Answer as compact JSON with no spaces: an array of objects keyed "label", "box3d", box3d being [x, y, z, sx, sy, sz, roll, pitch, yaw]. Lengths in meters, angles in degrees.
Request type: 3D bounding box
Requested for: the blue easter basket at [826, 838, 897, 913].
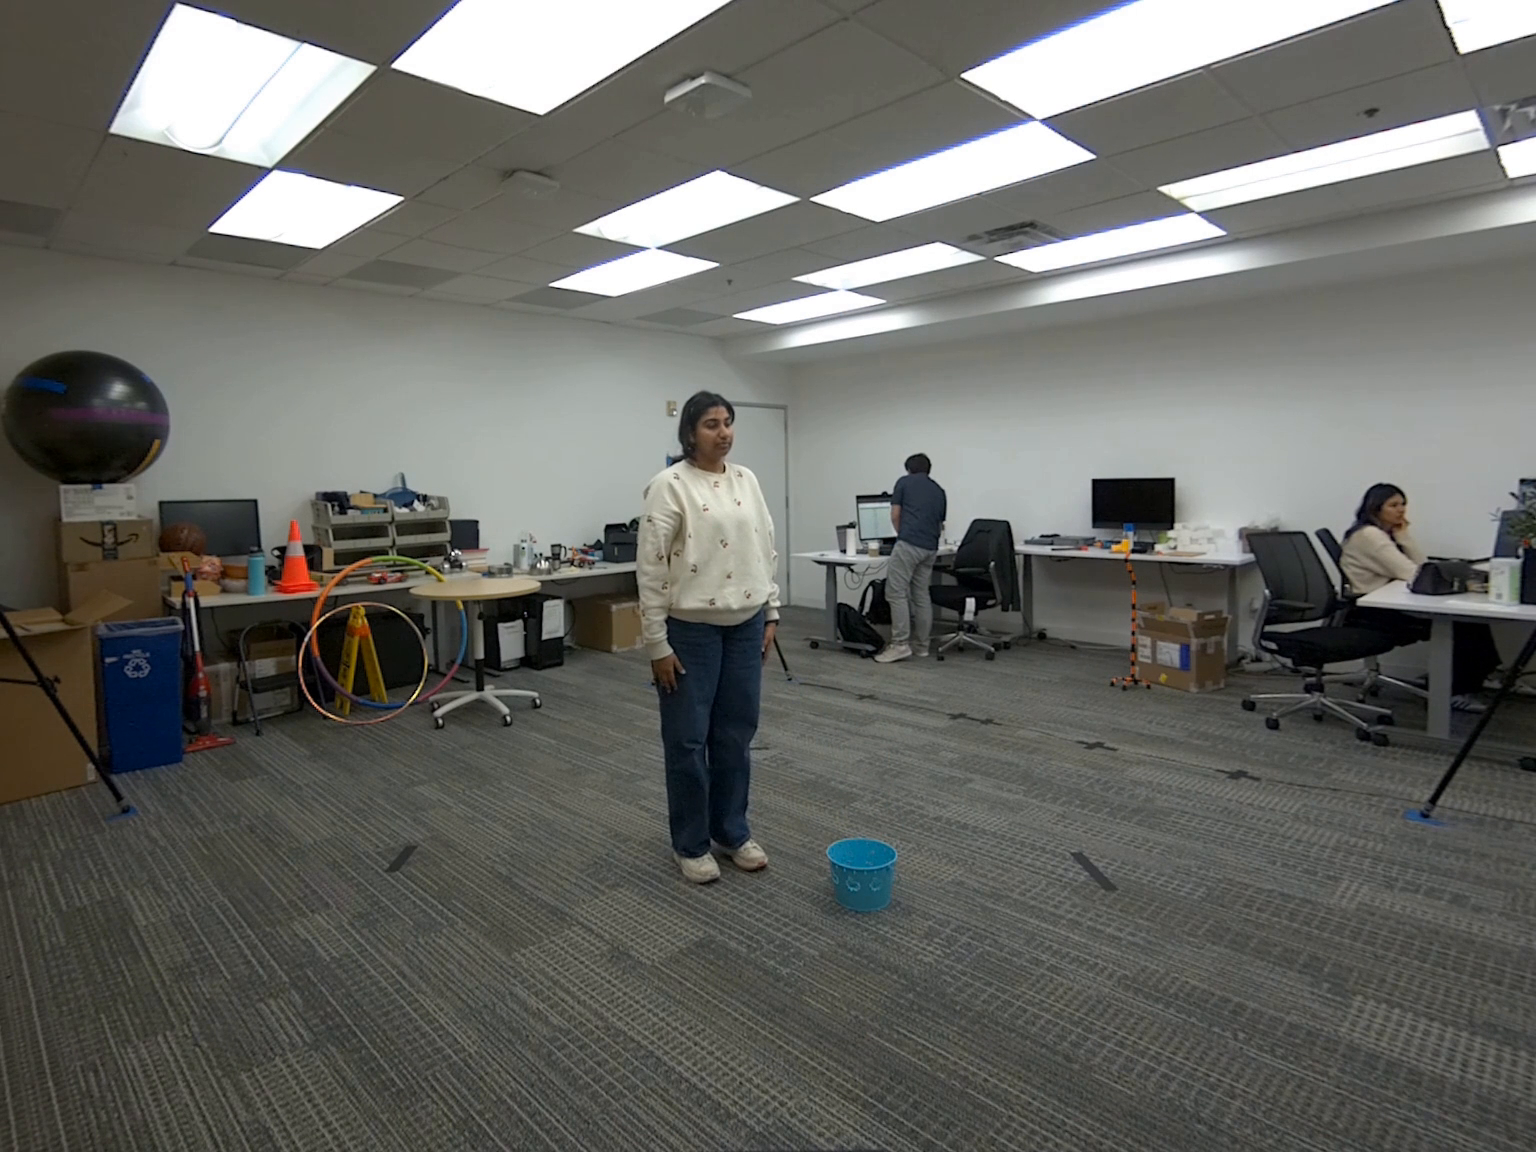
[{"label":"blue easter basket","box3d":[0.323,0.988,2.836,0.243,0.155,0.245,-2,6,-2]}]
